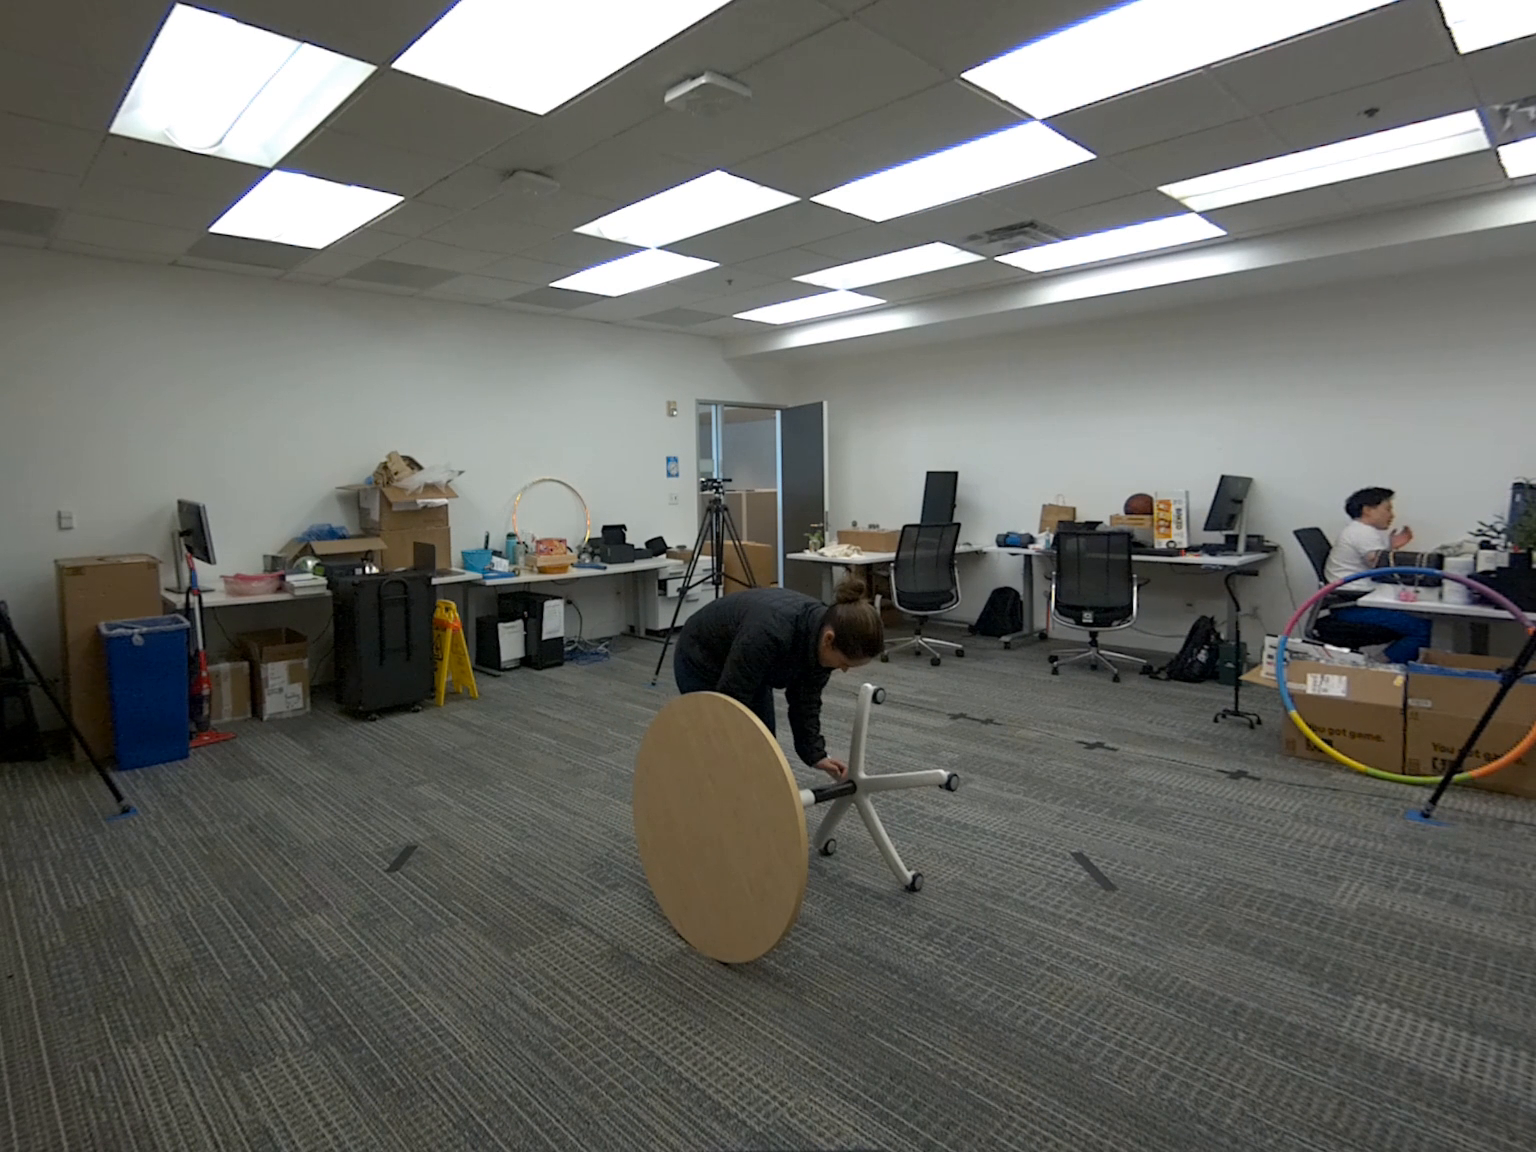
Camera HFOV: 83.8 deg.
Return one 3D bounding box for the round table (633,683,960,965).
[{"bbox_3d":[0.097,0.739,2.811,0.763,0.785,0.809,2,1,-44],"label":"round table"}]
